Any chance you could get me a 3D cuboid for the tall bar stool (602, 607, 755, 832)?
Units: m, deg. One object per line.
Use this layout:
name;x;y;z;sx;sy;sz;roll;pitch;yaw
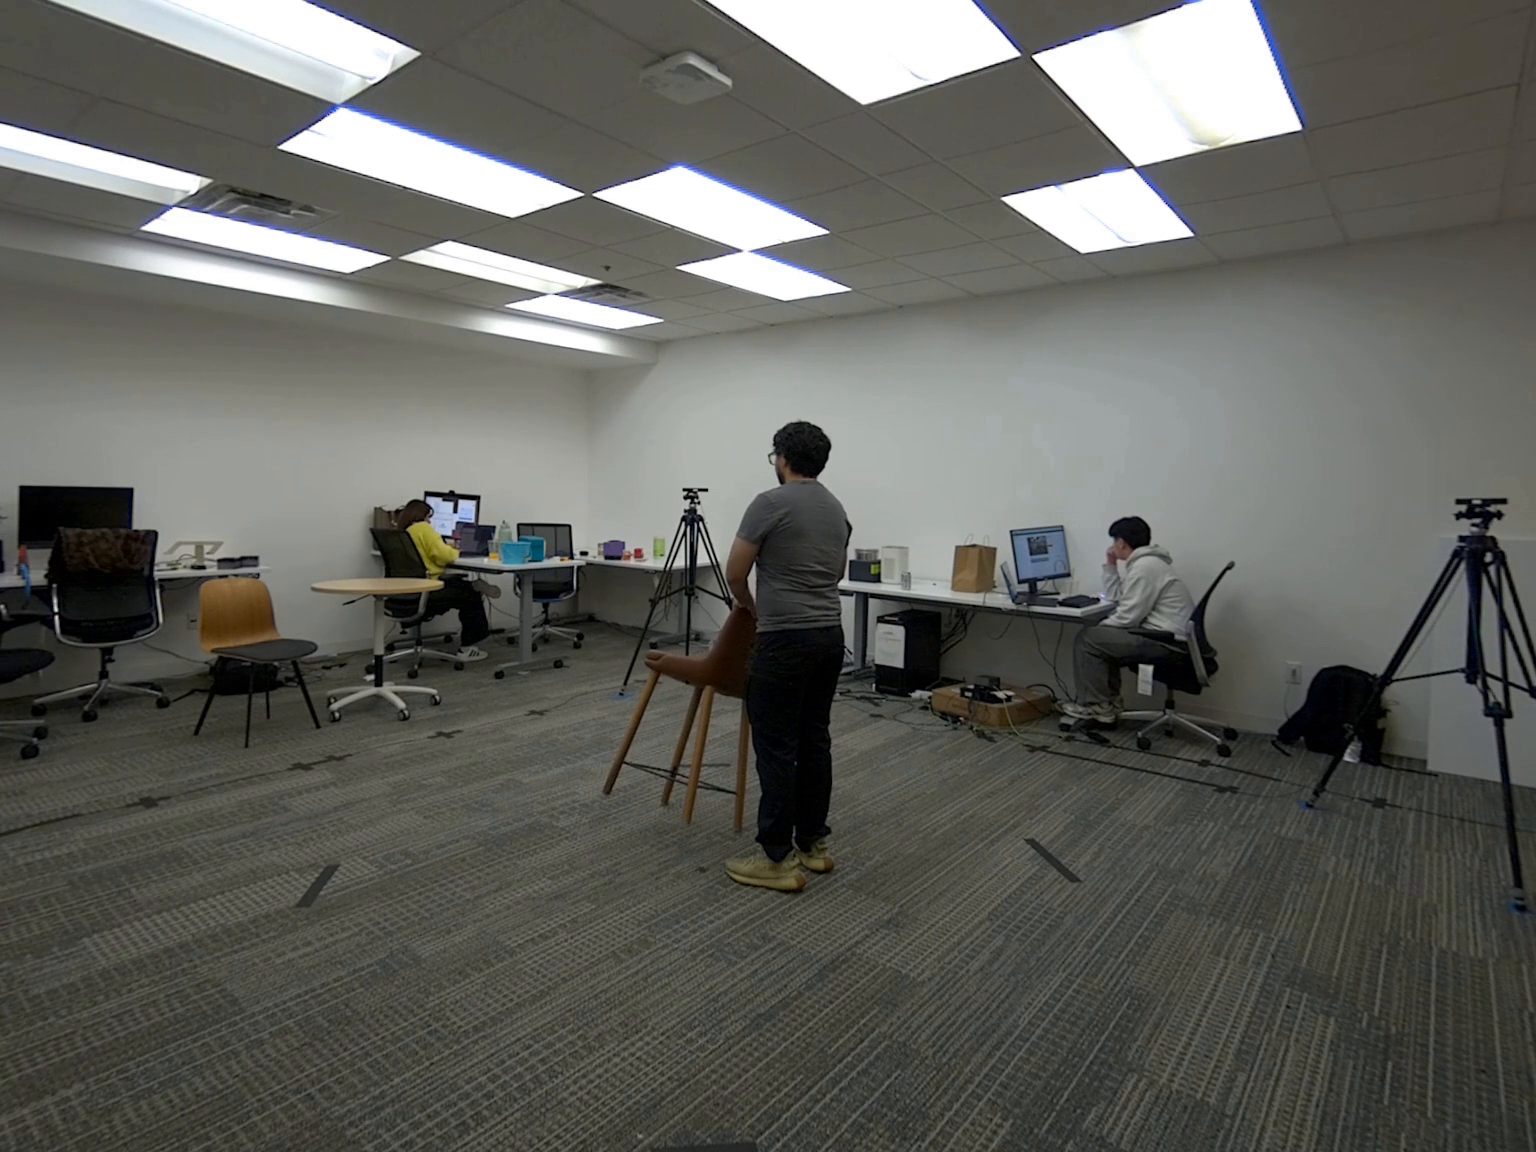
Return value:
tall bar stool;-0.292;0.551;3.569;0.484;0.896;0.438;7;-14;37
